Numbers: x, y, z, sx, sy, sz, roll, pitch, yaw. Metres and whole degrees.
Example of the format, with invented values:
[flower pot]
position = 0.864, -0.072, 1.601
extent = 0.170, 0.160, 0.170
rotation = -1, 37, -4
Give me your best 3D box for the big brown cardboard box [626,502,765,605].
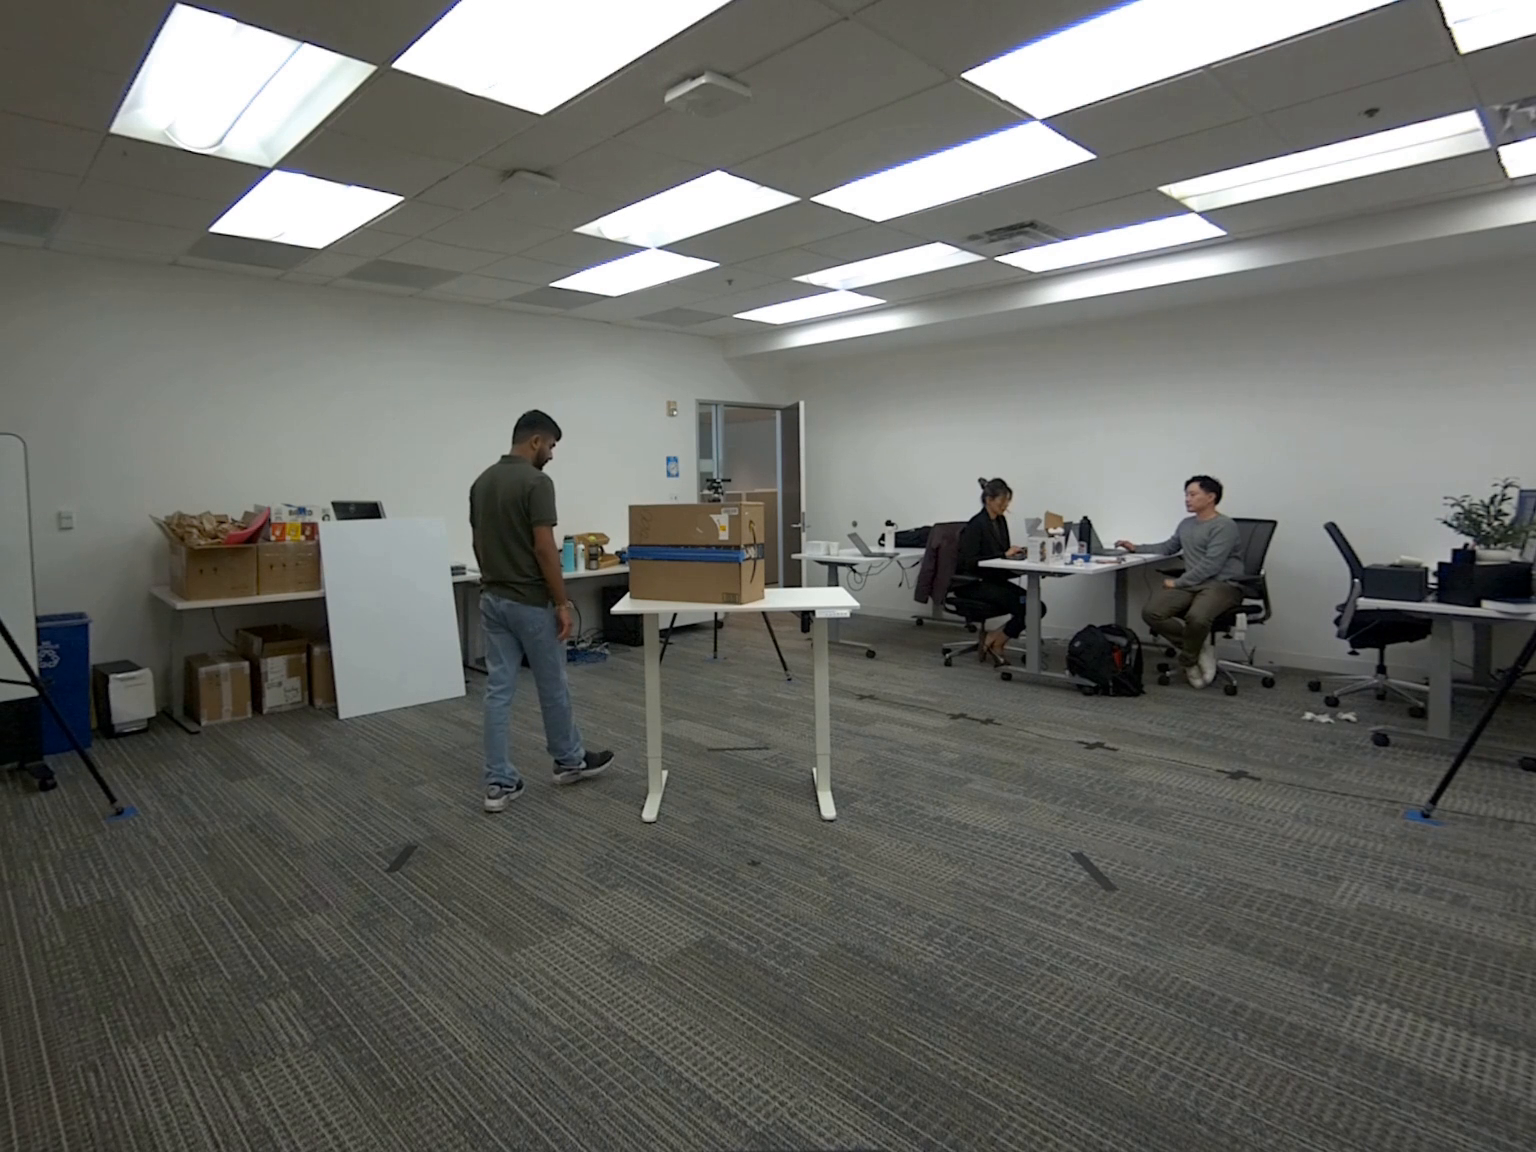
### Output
[big brown cardboard box]
position = -0.306, -0.104, 3.709
extent = 0.604, 0.417, 0.228
rotation = 1, 3, 30
